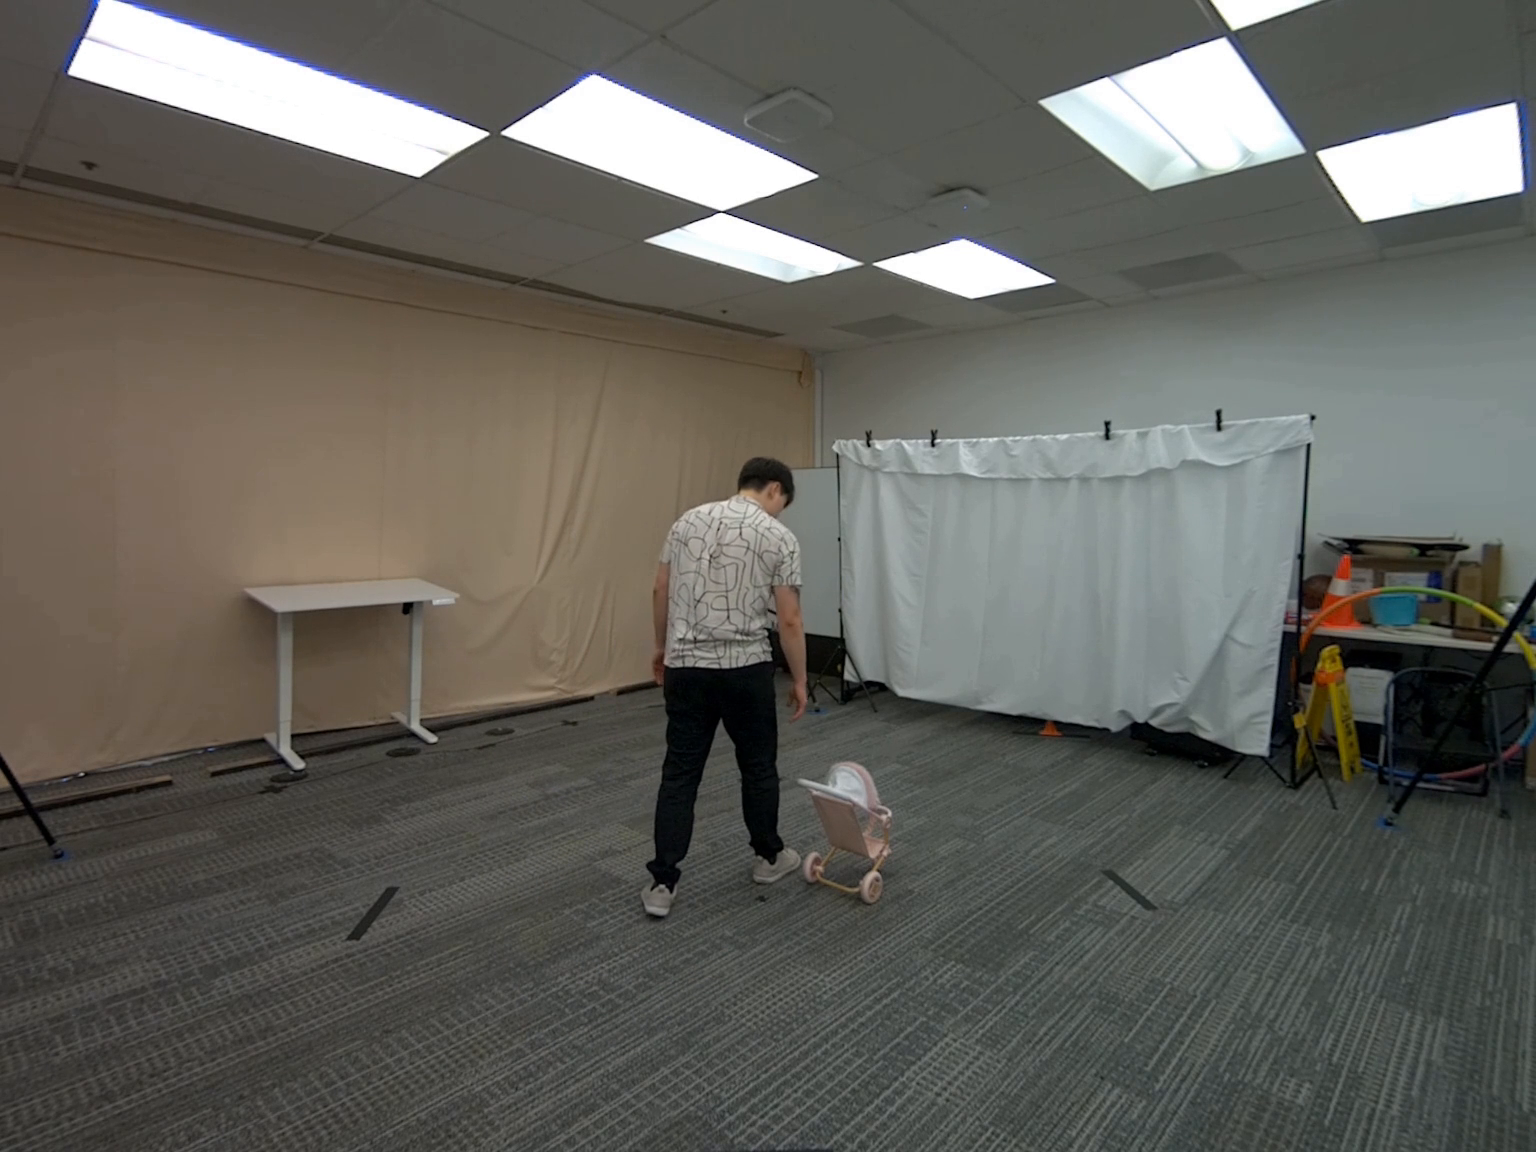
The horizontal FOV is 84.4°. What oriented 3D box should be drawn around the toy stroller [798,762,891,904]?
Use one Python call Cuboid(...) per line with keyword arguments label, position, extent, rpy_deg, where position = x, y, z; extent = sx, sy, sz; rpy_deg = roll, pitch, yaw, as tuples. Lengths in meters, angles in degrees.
Cuboid(label="toy stroller", position=(0.311, 0.913, 3.063), extent=(0.291, 0.529, 0.334), rpy_deg=(4, 20, 43))
